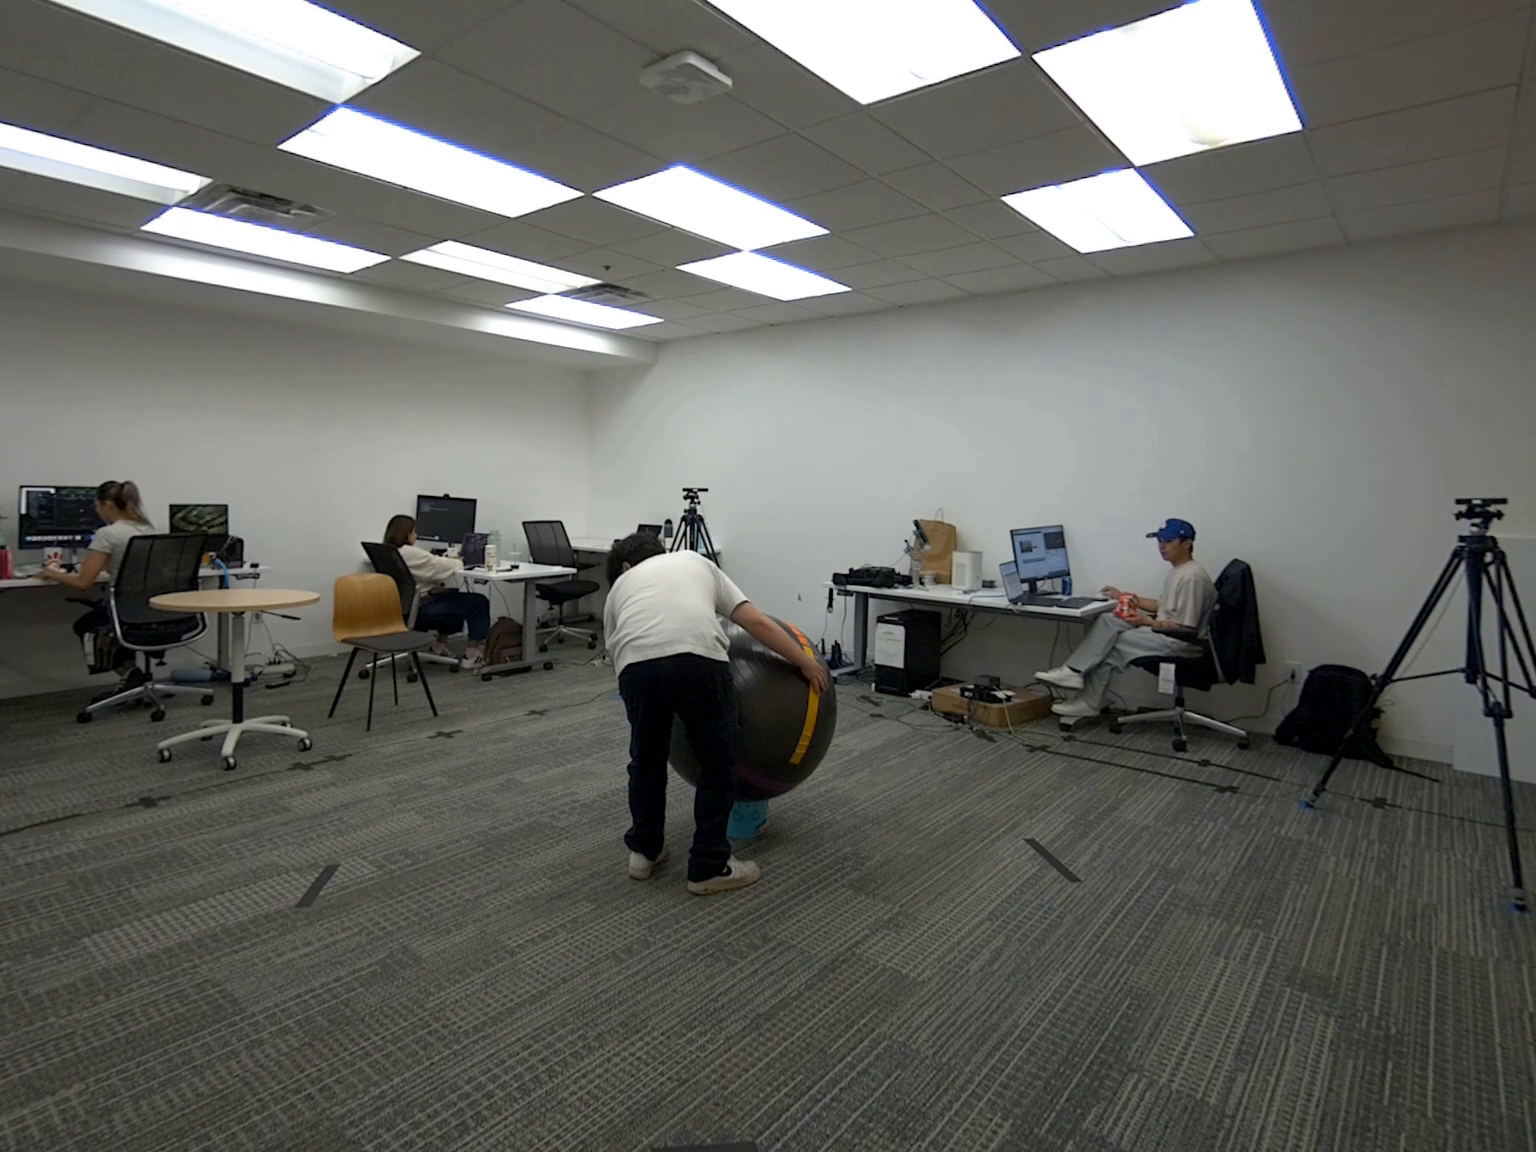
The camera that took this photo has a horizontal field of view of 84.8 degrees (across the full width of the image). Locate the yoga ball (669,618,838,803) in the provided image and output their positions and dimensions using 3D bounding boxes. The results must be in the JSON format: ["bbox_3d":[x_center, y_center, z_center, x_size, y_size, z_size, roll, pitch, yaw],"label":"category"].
[{"bbox_3d":[-0.093,0.531,3.479,0.757,0.755,0.762,1,4,-2],"label":"yoga ball"}]
